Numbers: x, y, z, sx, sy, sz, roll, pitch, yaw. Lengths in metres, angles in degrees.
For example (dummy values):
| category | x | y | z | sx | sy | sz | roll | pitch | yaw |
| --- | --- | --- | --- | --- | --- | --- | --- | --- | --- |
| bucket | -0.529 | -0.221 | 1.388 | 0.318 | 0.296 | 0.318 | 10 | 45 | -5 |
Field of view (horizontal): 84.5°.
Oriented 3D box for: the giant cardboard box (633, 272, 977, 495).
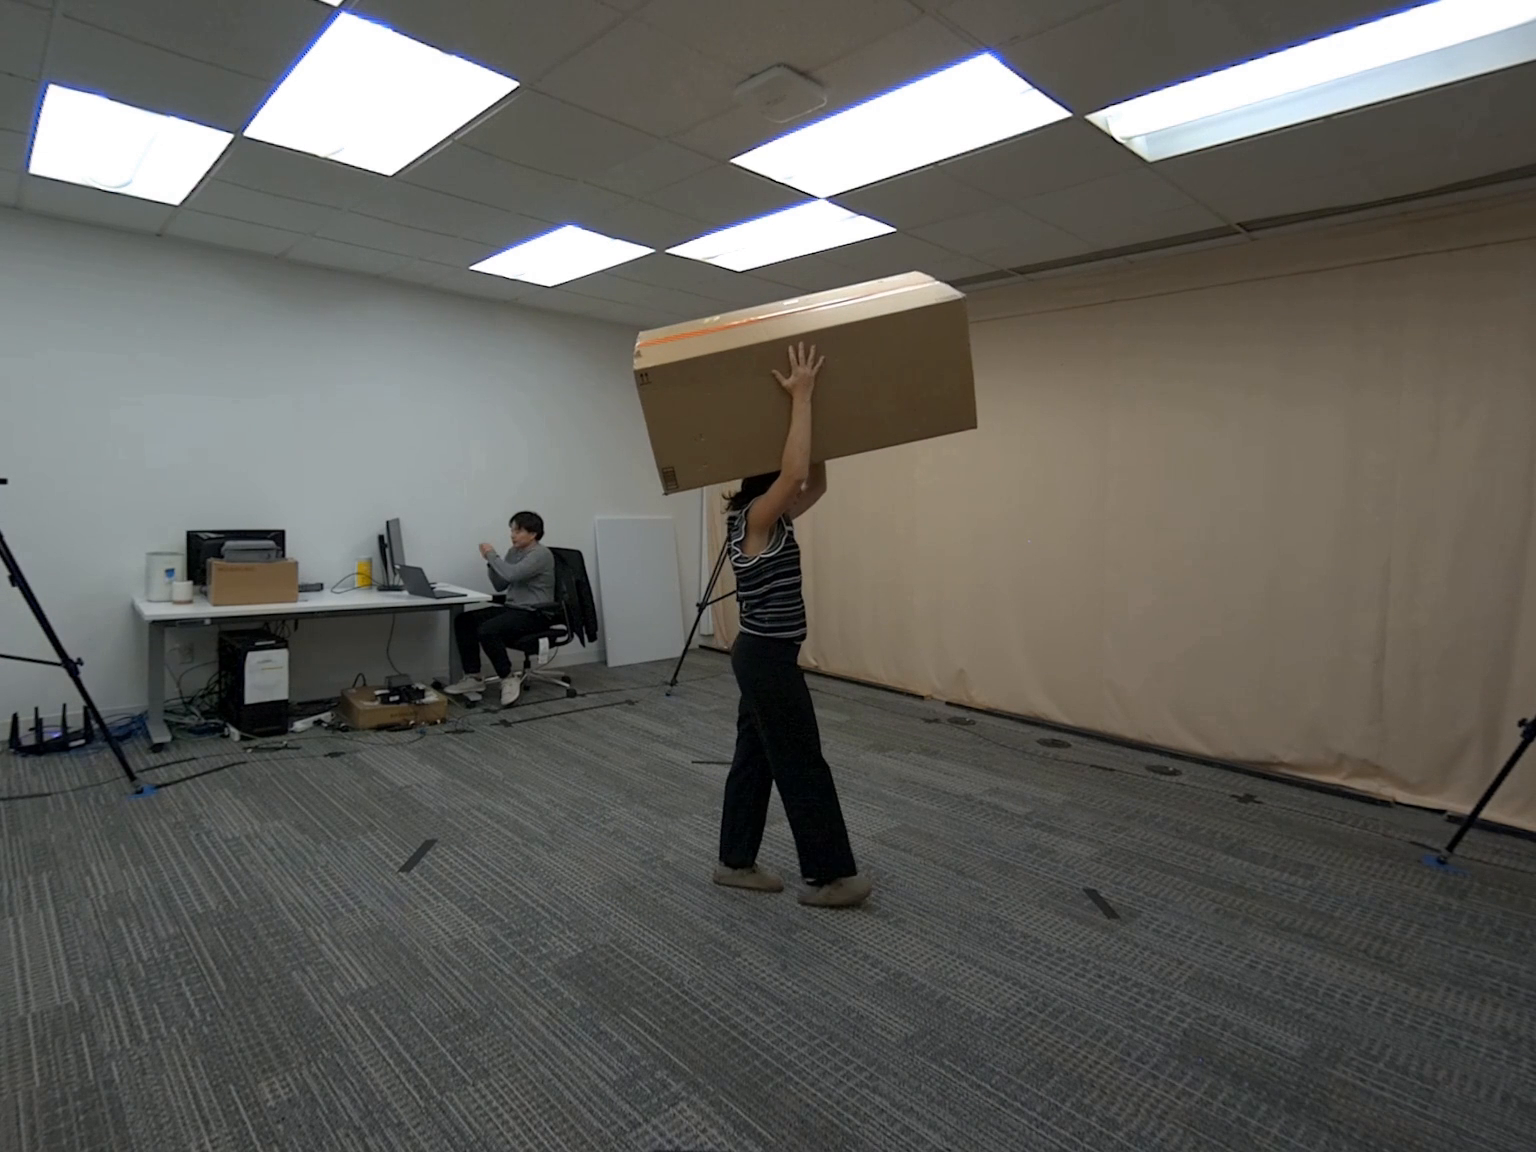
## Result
| category | x | y | z | sx | sy | sz | roll | pitch | yaw |
| --- | --- | --- | --- | --- | --- | --- | --- | --- | --- |
| giant cardboard box | 0.097 | -0.674 | 2.848 | 1.027 | 0.417 | 0.589 | -12 | 26 | 2 |
